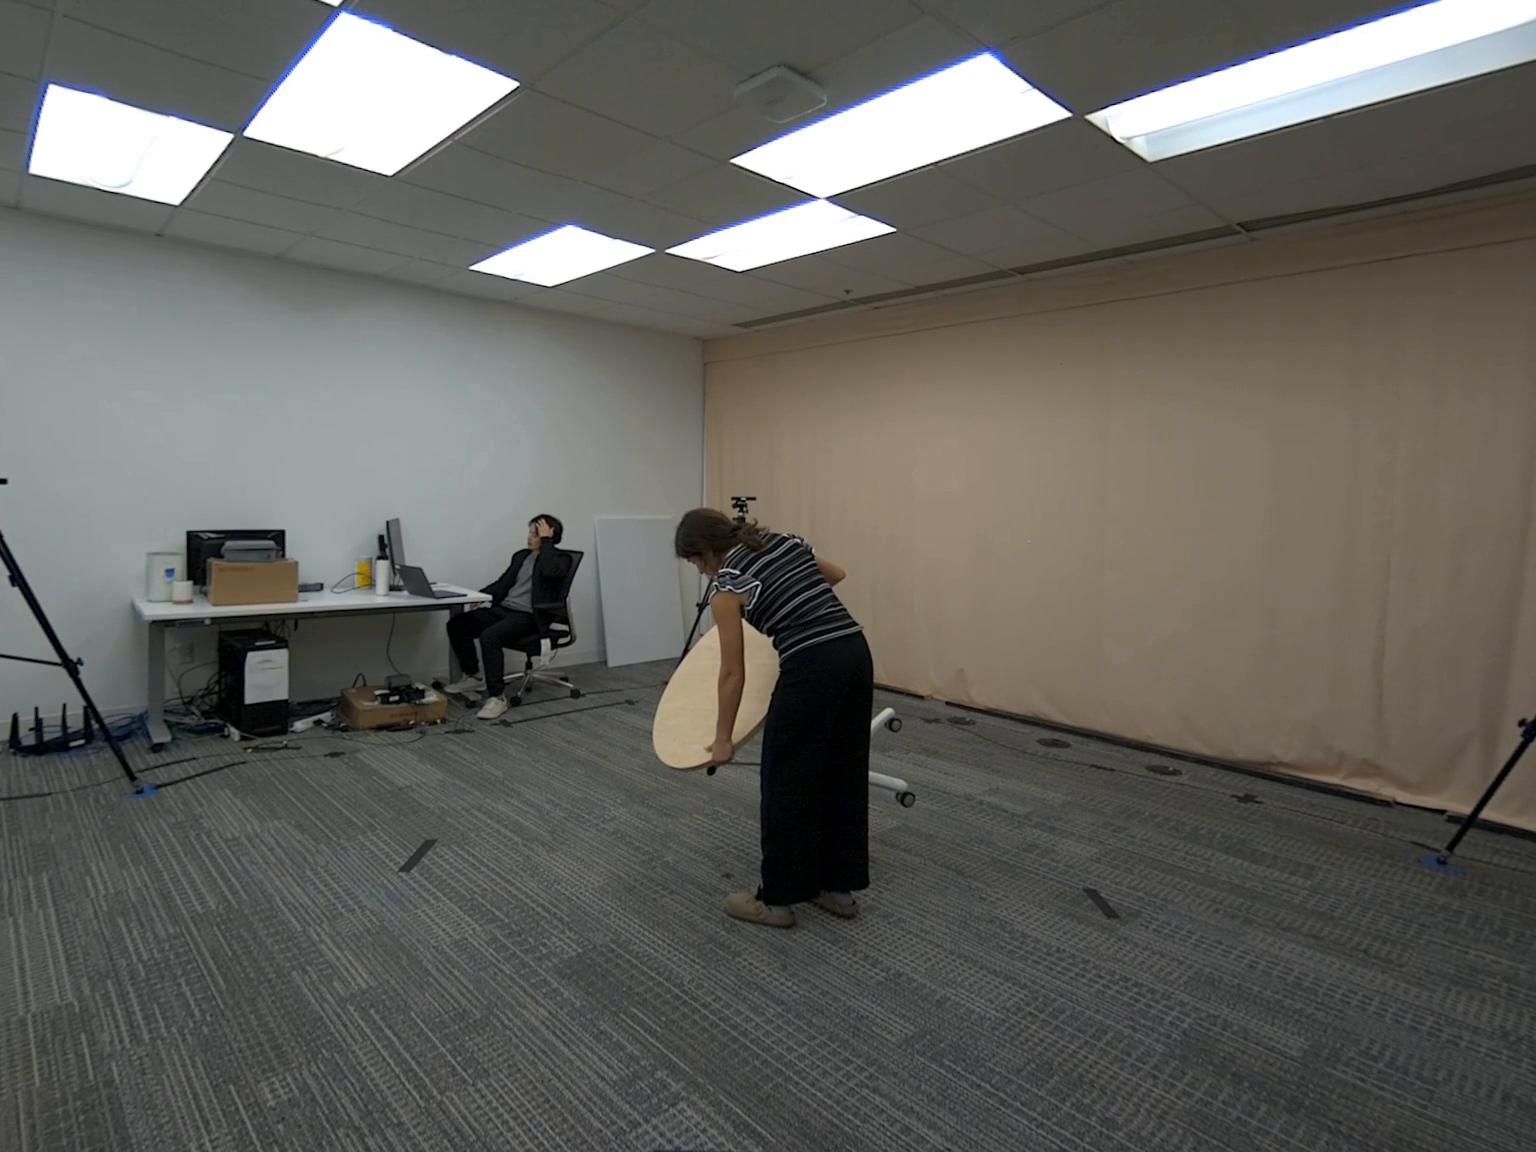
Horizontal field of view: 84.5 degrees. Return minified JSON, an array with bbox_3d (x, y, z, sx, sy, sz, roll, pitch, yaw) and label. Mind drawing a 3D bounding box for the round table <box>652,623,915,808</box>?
[{"bbox_3d":[0.089,0.625,3.326,0.775,0.765,0.781,44,-16,-24],"label":"round table"}]
